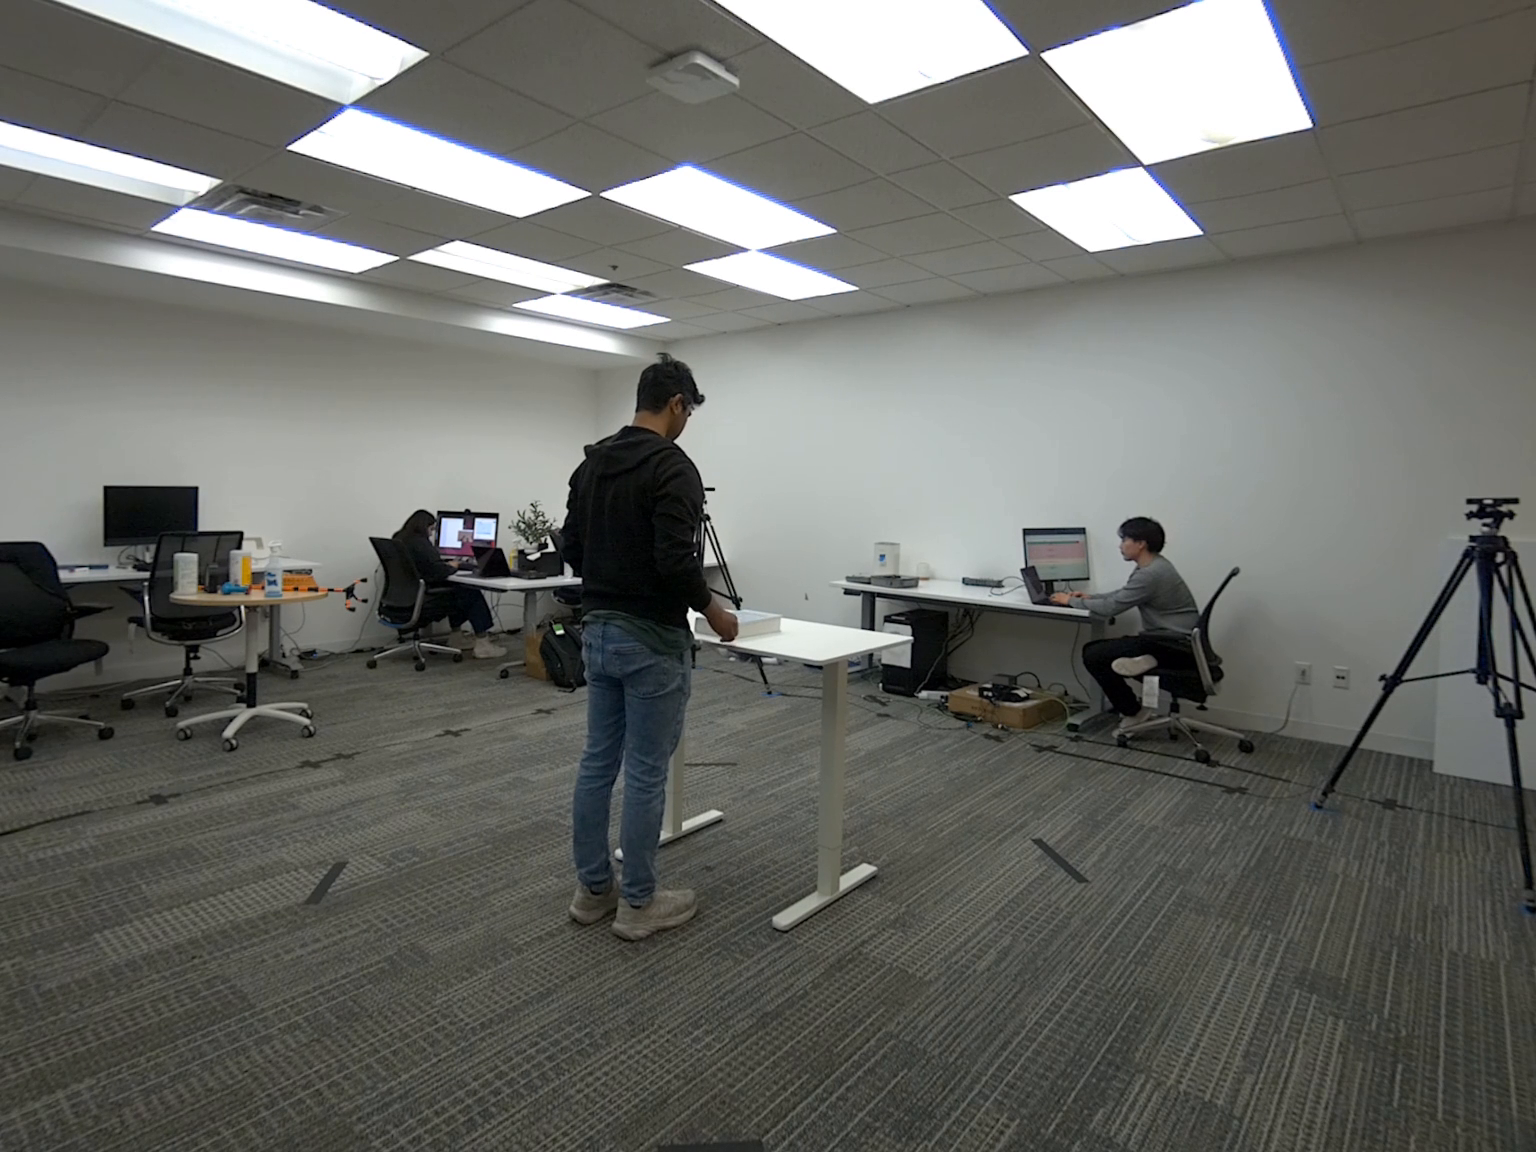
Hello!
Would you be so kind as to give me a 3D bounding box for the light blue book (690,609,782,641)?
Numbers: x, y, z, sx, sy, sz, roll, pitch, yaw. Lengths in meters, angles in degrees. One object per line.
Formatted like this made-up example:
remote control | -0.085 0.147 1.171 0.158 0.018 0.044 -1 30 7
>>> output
light blue book | -0.104 0.171 3.021 0.198 0.059 0.253 6 8 40
